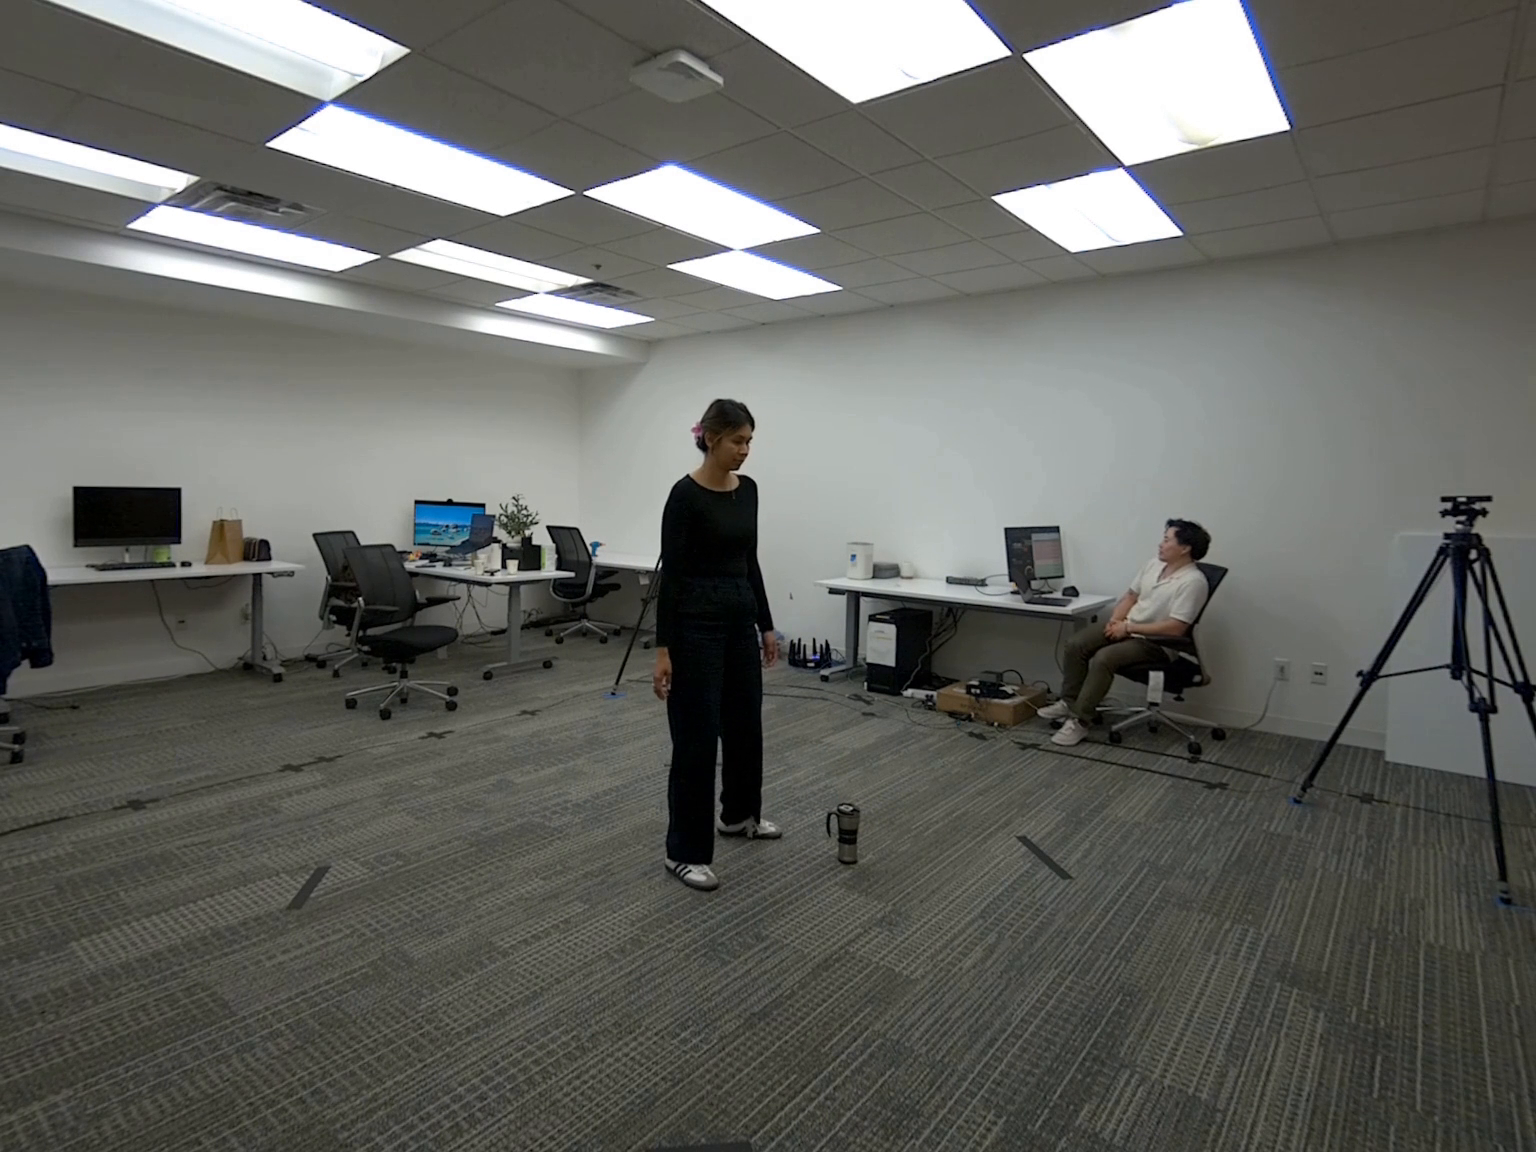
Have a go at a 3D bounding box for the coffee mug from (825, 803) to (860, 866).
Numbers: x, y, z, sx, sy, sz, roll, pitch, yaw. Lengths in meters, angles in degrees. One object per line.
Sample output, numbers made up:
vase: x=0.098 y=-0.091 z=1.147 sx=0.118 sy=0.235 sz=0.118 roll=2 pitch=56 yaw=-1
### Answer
coffee mug: x=0.278 y=0.972 z=3.206 sx=0.126 sy=0.201 sz=0.085 roll=8 pitch=10 yaw=35
